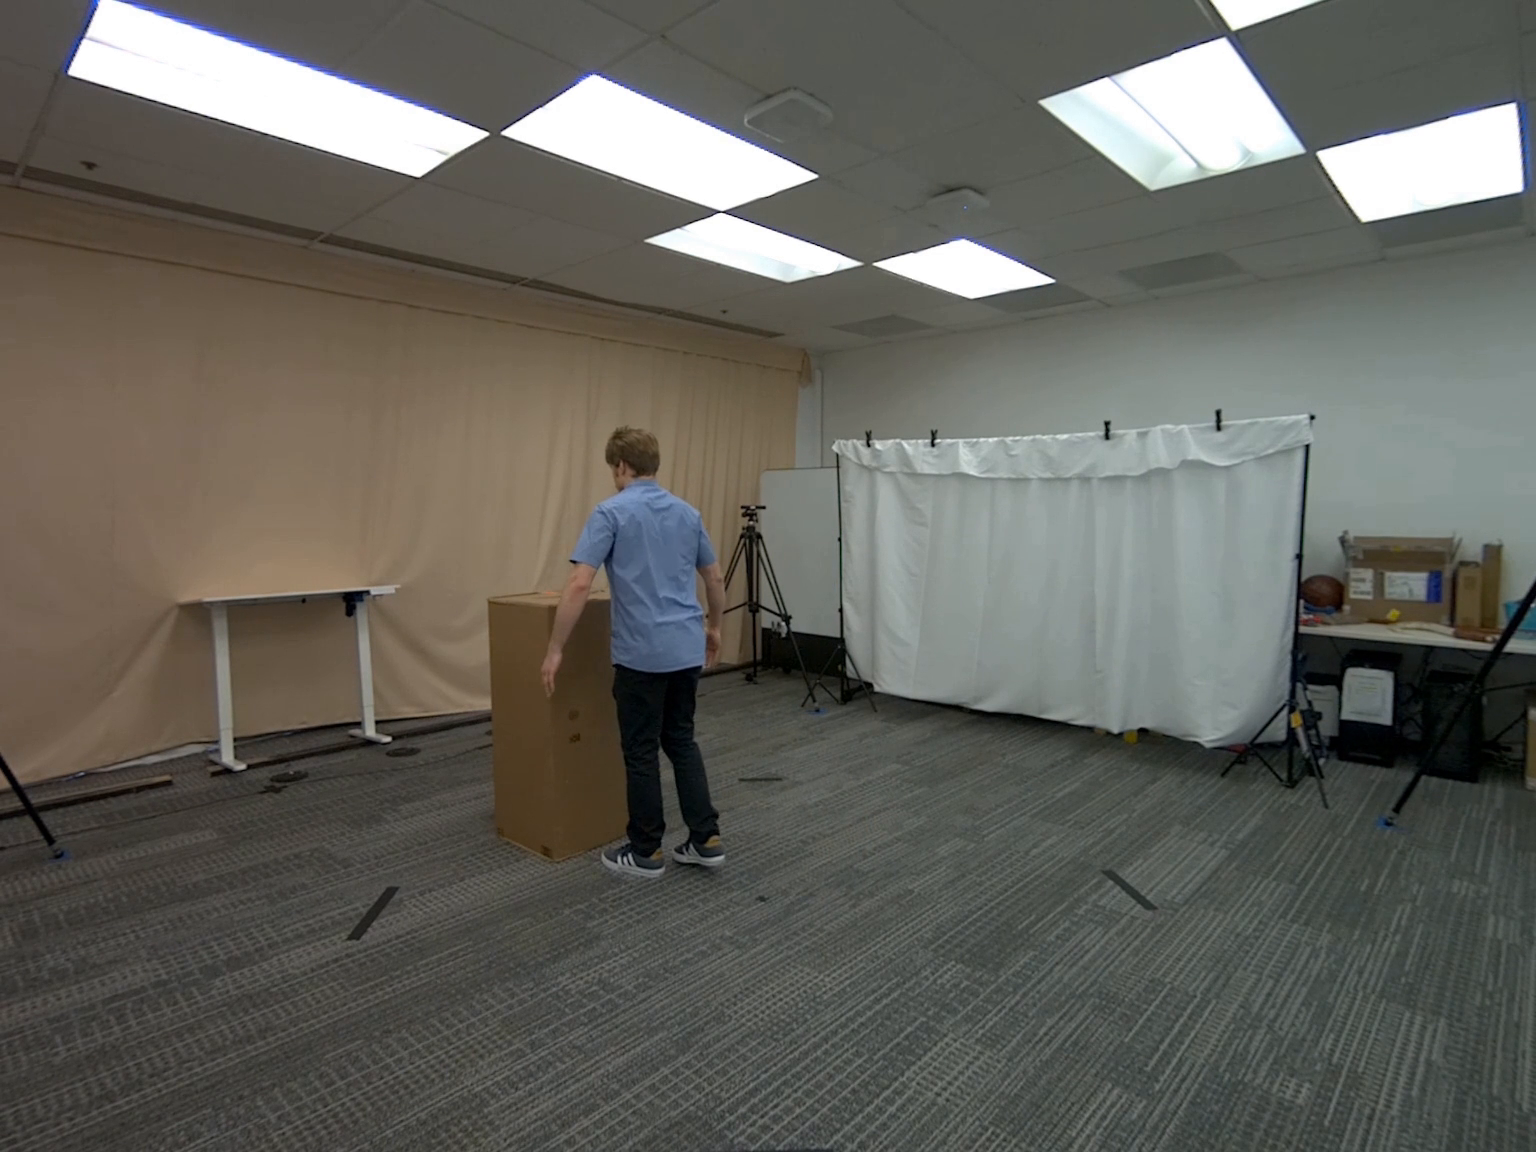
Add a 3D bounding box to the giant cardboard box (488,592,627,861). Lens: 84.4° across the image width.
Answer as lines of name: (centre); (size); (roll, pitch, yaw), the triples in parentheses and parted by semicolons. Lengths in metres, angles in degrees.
giant cardboard box: (-0.829, 0.589, 3.618); (0.440, 1.023, 0.560); (3, 5, 41)
